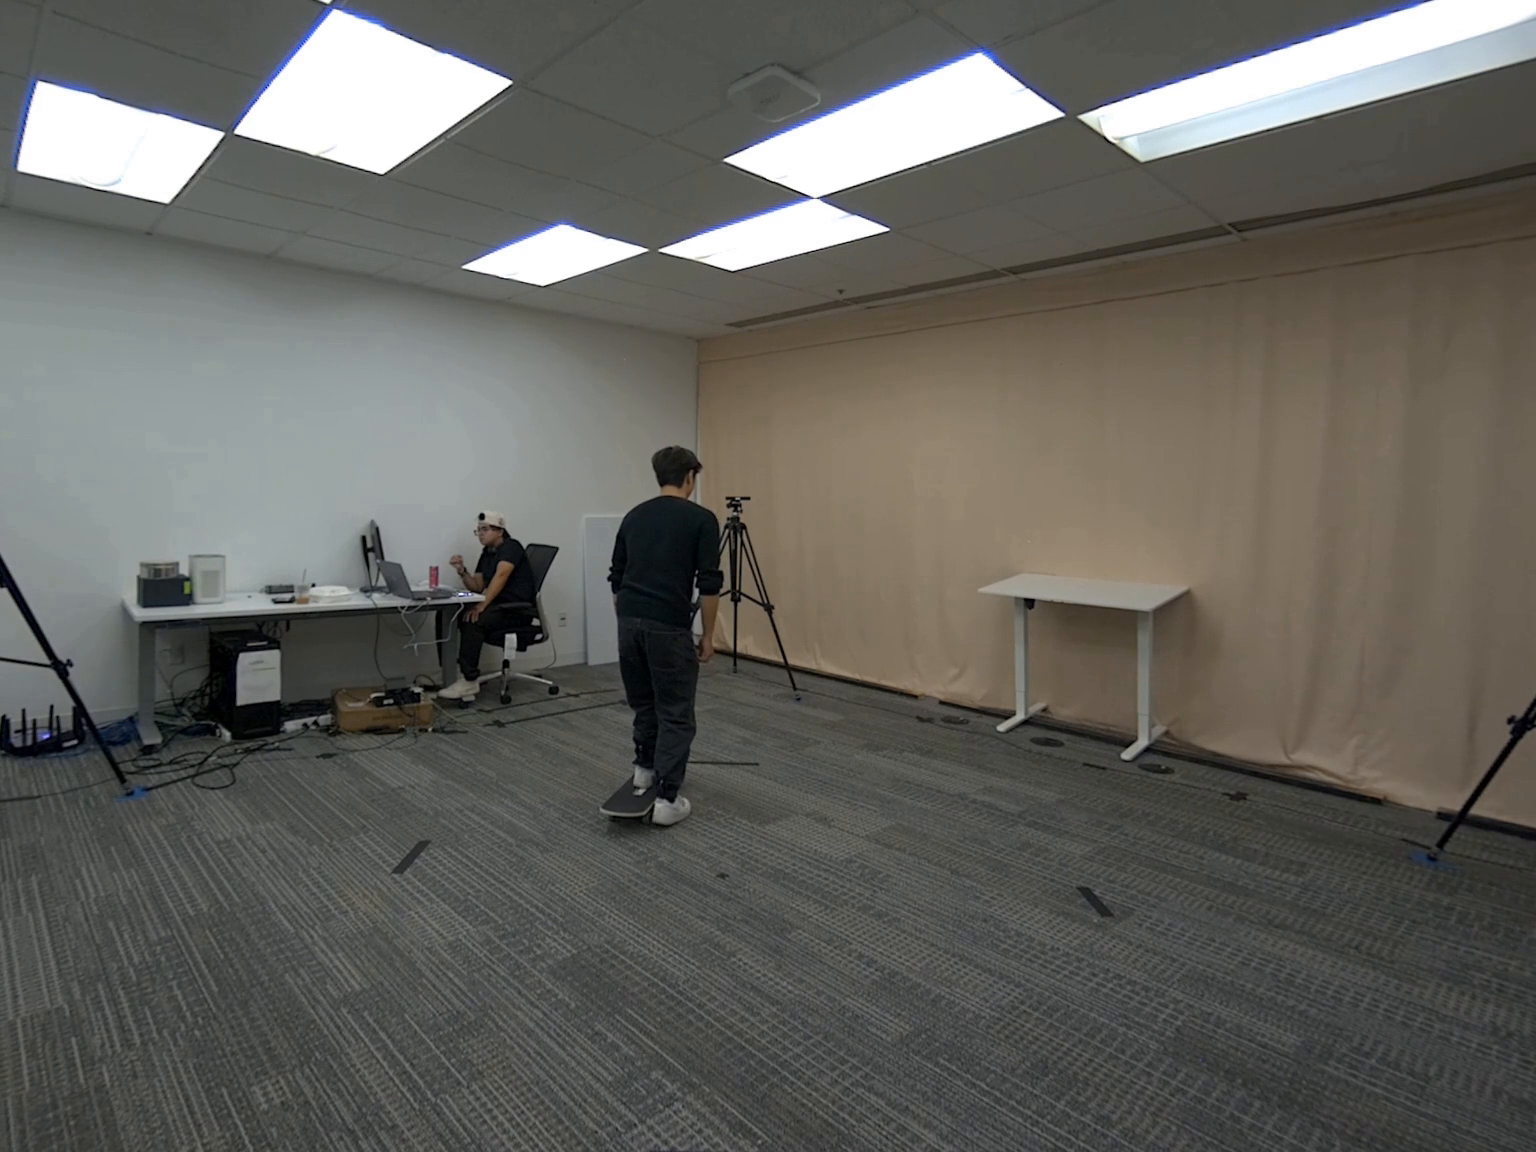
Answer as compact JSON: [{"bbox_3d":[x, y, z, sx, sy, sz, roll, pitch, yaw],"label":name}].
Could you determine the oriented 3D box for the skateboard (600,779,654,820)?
[{"bbox_3d":[-0.575,0.977,3.782,0.195,0.110,0.780,3,4,8],"label":"skateboard"}]
